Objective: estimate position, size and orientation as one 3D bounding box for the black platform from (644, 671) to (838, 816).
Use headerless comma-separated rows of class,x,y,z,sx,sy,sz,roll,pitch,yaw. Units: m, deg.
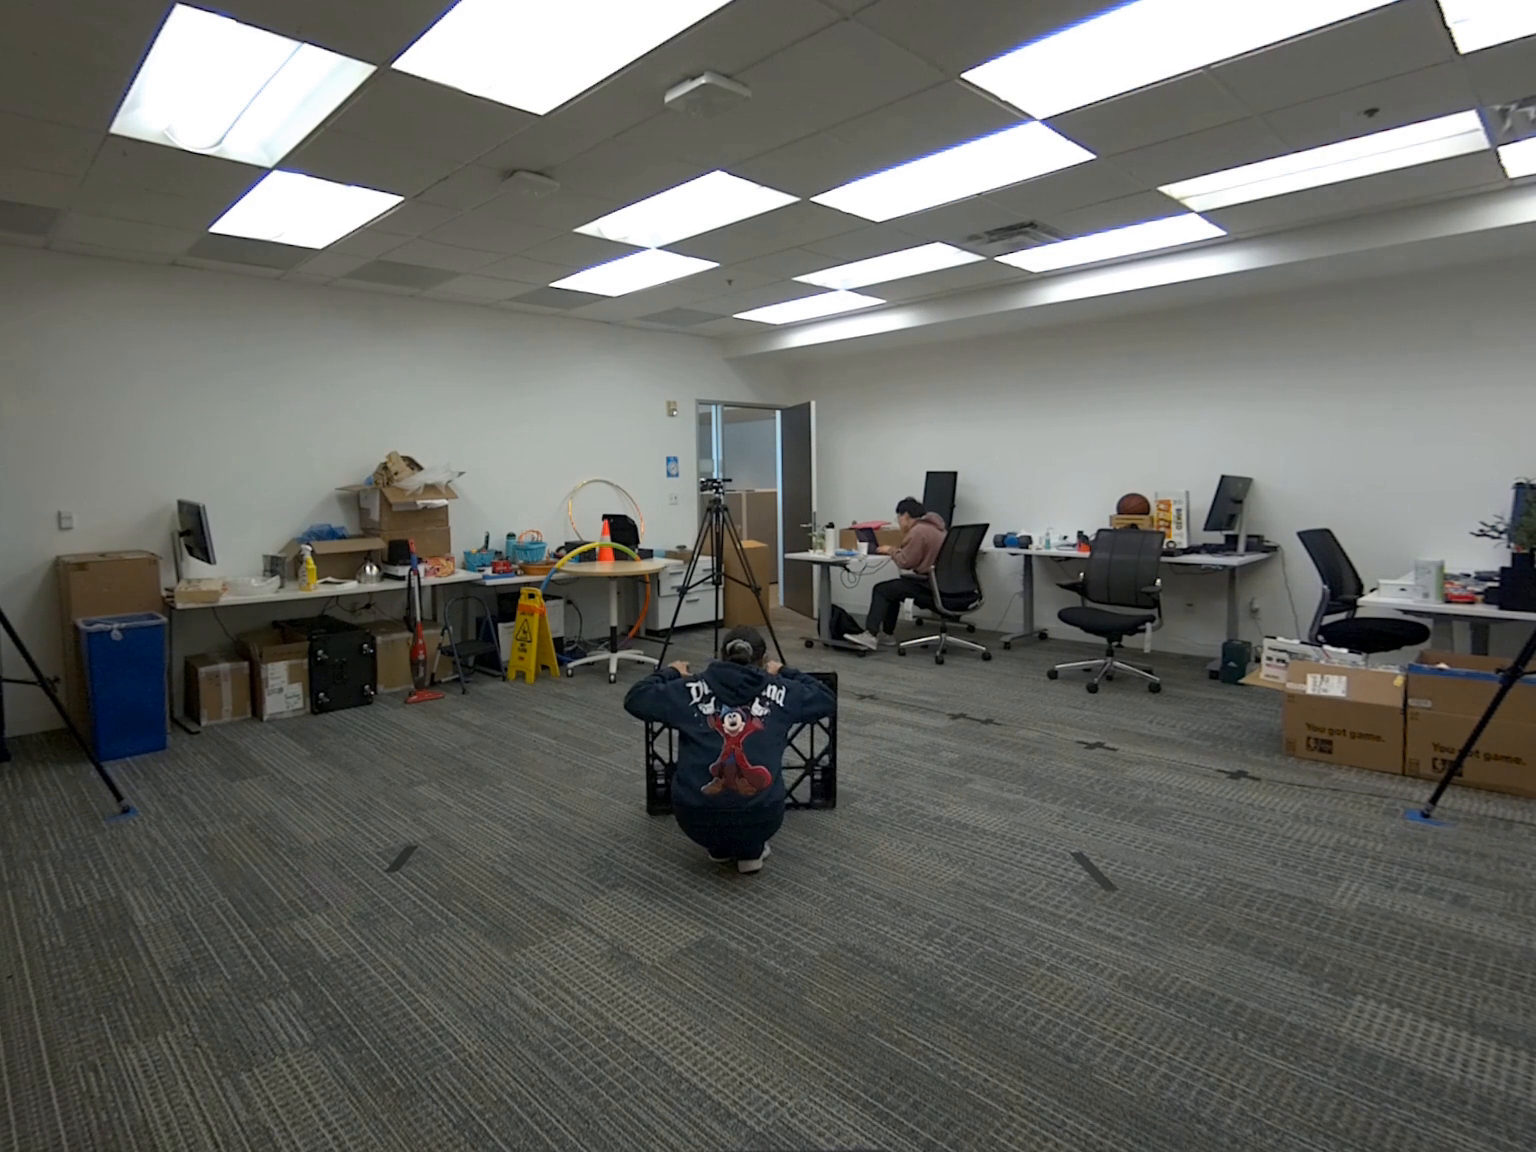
black platform,-0.105,0.693,3.600,0.803,0.600,0.145,0,9,-3
